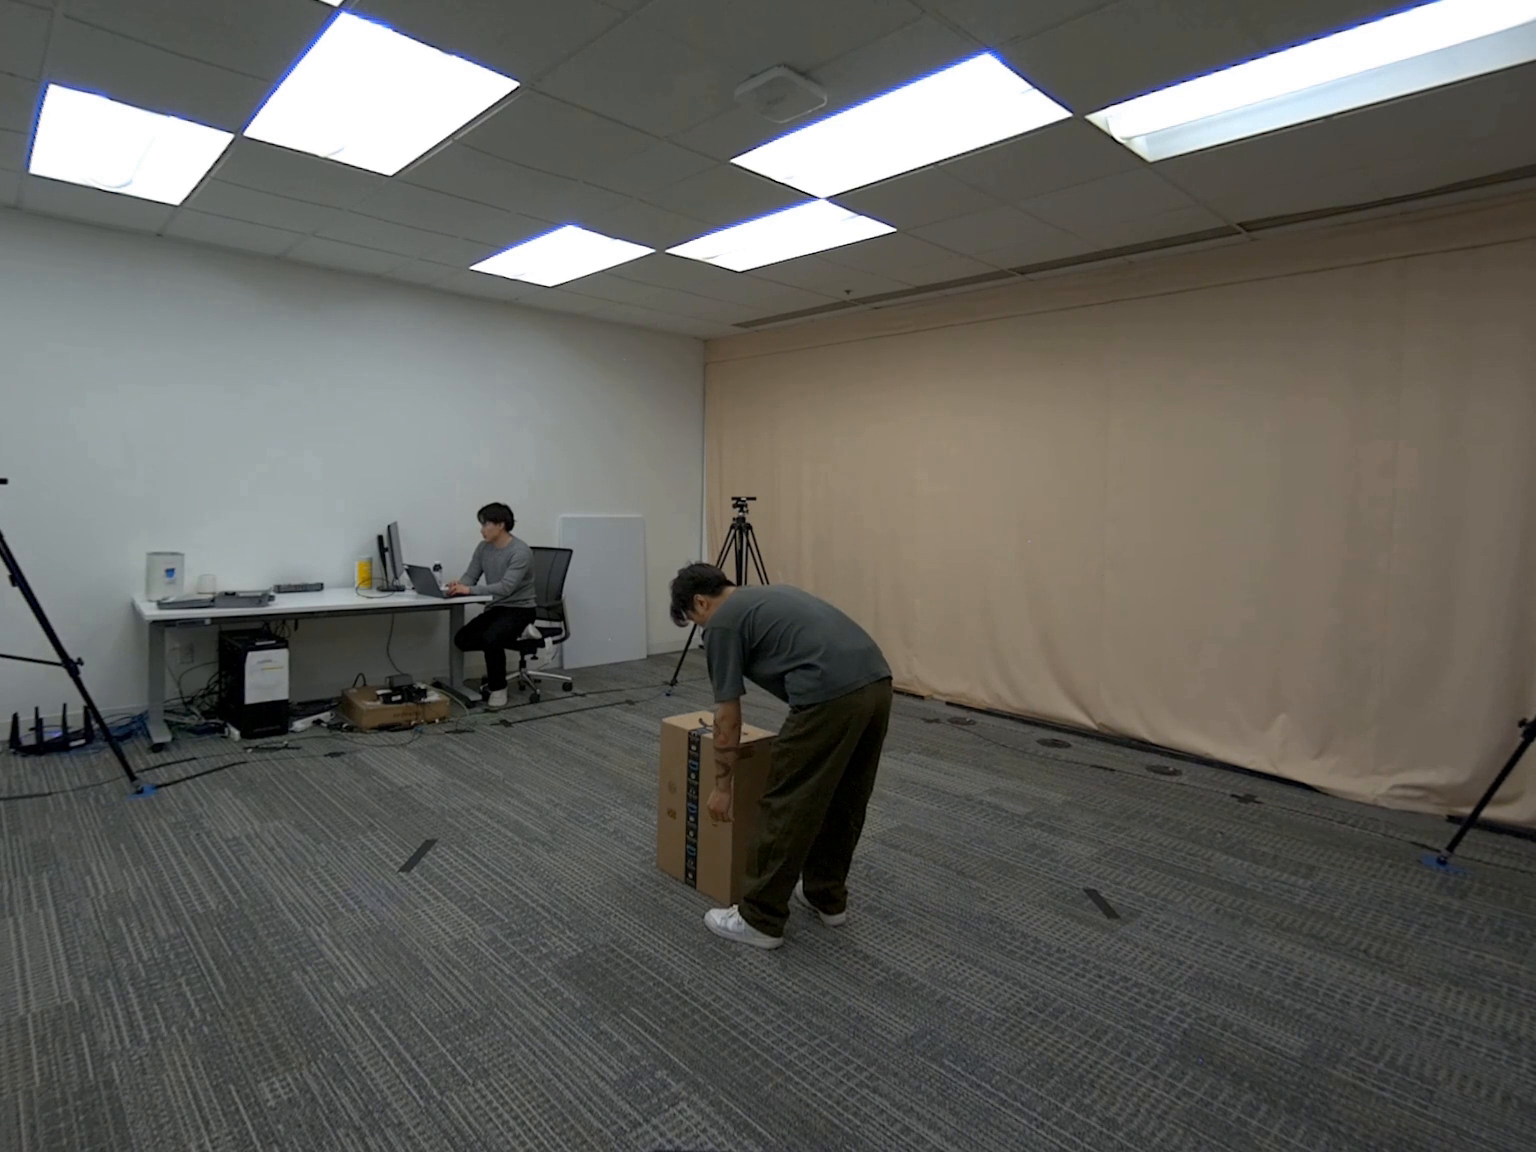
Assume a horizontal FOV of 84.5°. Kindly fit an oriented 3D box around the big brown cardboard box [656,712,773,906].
[{"bbox_3d":[-0.193,0.822,3.060,0.228,0.587,0.428,-1,5,-43],"label":"big brown cardboard box"}]
